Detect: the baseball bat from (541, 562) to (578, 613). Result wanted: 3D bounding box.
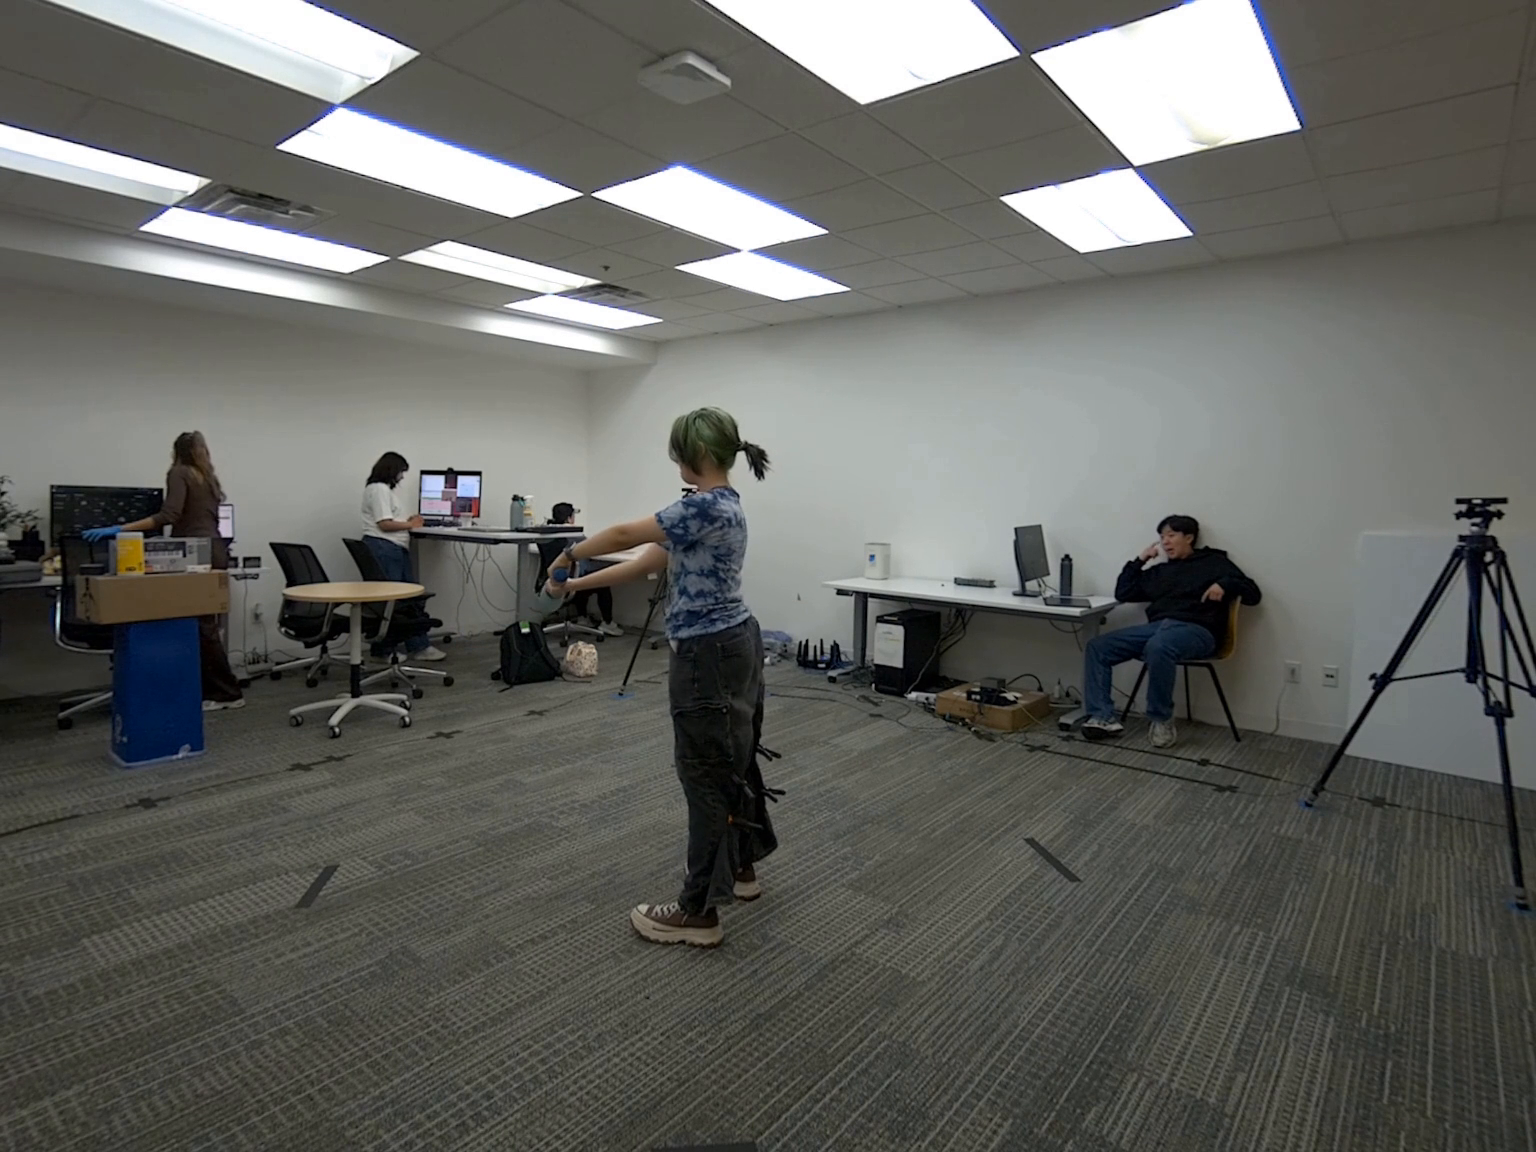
[{"bbox_3d":[-0.754,0.046,3.016,0.087,0.090,0.546,0,-10,-18],"label":"baseball bat"}]
